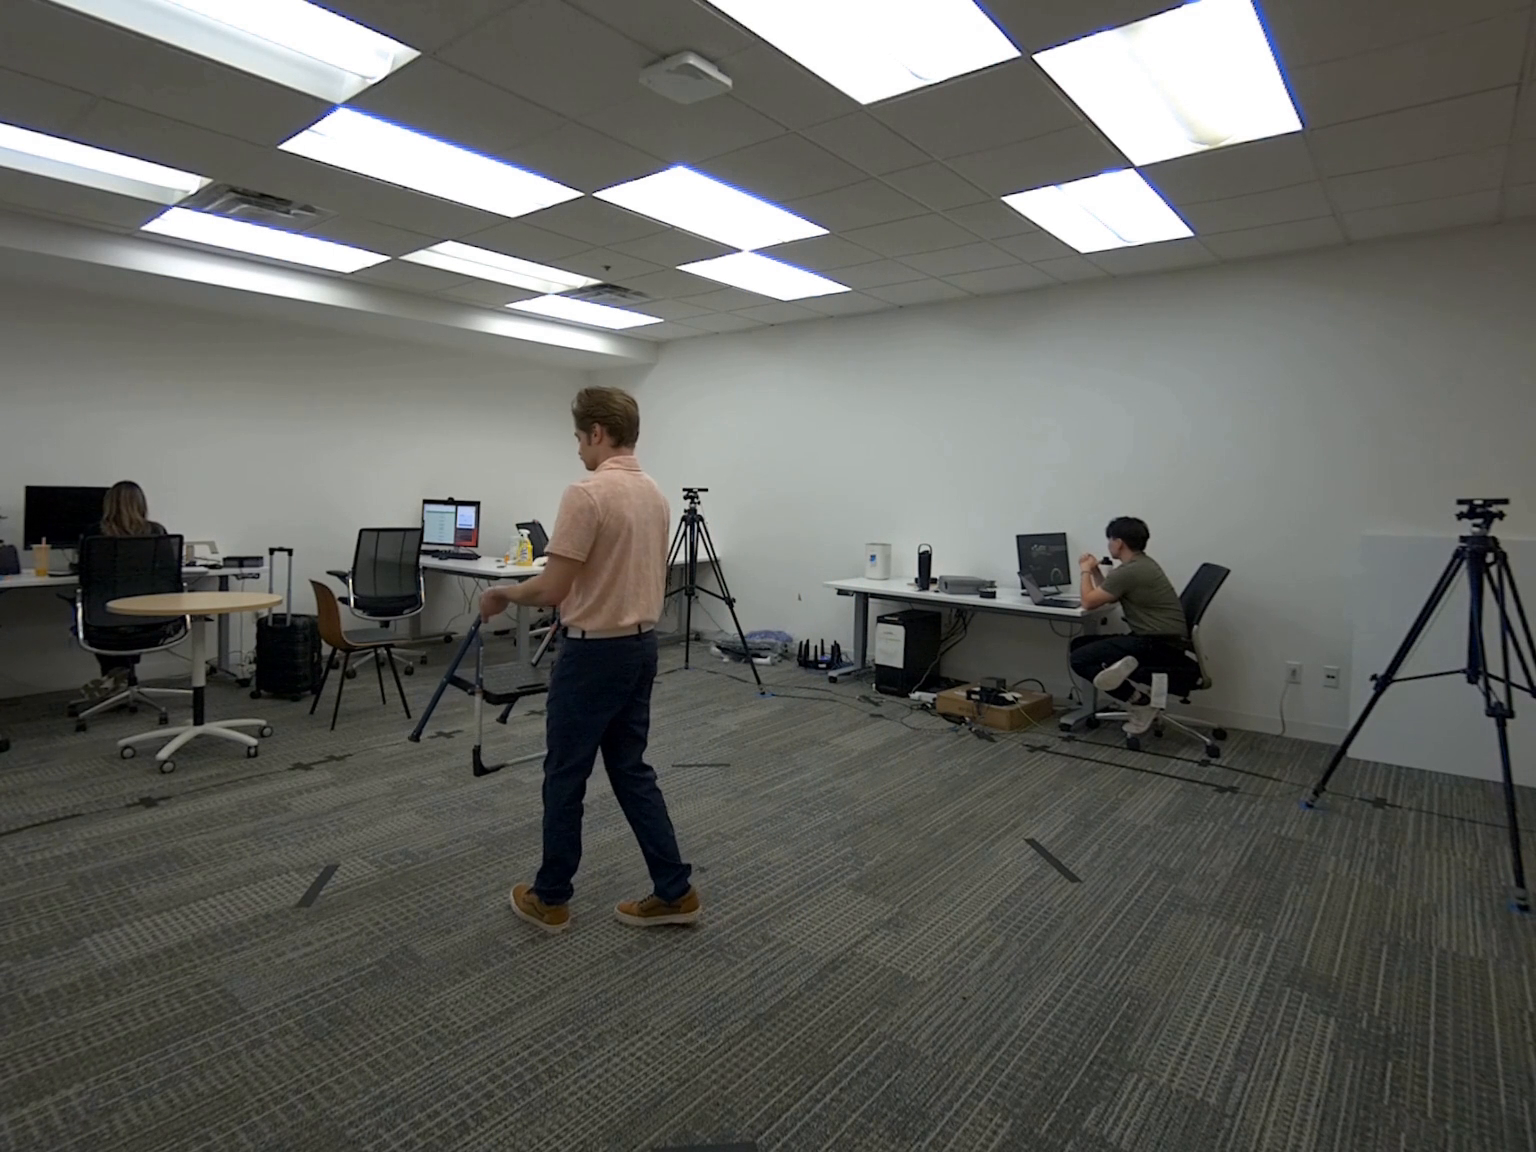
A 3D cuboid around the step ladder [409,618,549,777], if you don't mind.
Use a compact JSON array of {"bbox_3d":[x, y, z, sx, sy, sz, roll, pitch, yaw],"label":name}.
[{"bbox_3d":[-0.902,0.296,2.895,0.361,0.604,0.418,16,6,29],"label":"step ladder"}]
